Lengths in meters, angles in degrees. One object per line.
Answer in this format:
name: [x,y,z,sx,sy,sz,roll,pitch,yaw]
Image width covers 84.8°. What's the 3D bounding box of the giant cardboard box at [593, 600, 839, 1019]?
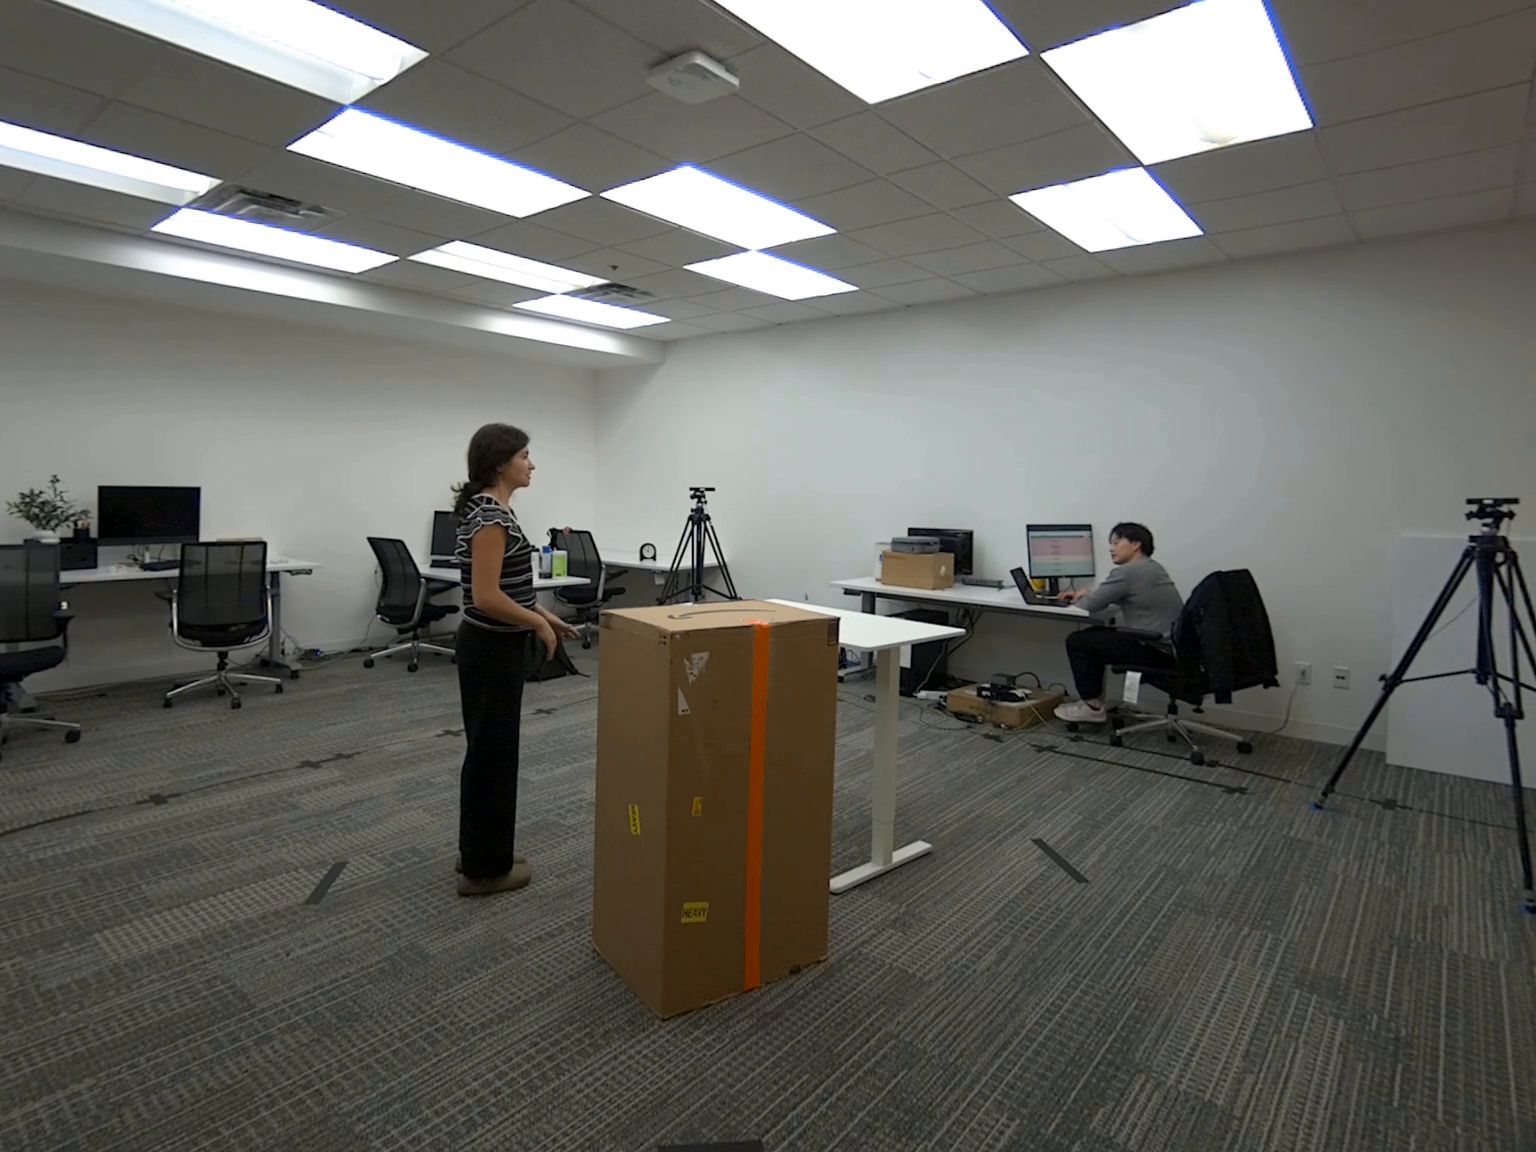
giant cardboard box: [-0.165,0.616,2.514,0.561,1.023,0.440,-1,4,-35]
